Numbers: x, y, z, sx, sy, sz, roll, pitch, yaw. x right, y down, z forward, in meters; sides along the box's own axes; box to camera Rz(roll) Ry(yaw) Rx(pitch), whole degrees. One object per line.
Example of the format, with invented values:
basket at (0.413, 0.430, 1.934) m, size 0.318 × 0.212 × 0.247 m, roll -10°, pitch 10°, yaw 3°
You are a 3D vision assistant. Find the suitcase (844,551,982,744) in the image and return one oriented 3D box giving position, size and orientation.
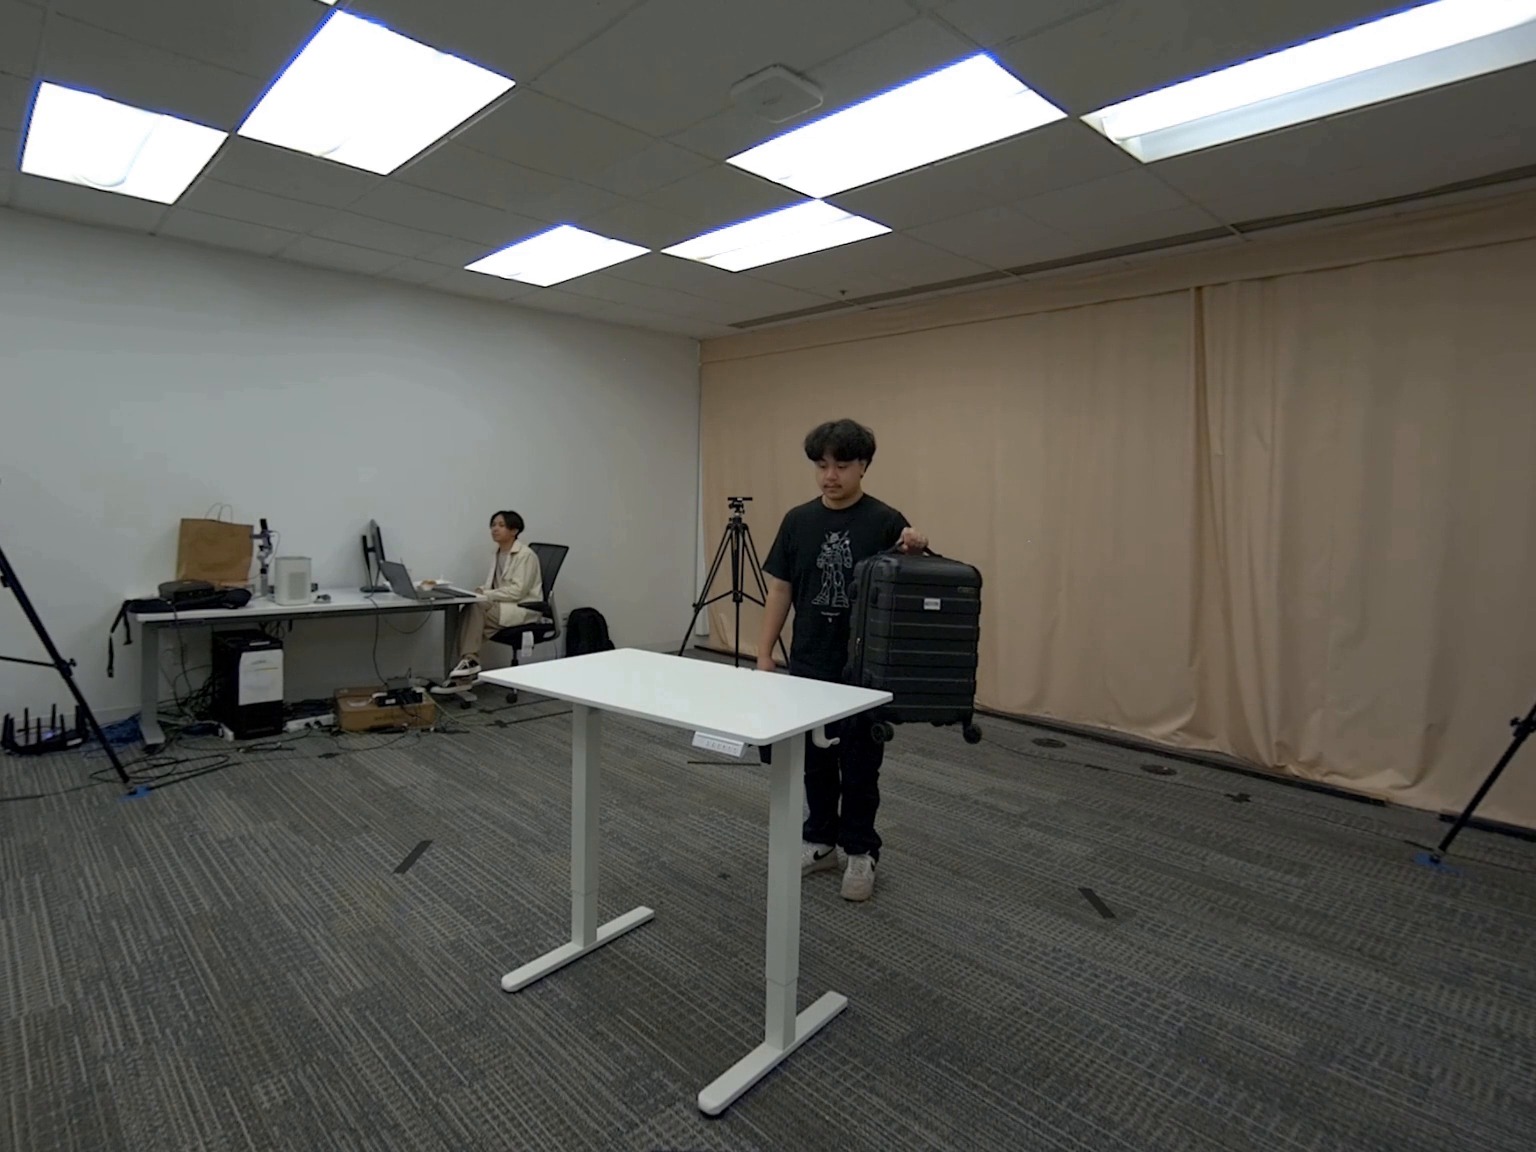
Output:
suitcase at (0.441, 0.196, 2.591) m, size 0.370 × 0.549 × 0.252 m, roll 4°, pitch 1°, yaw -16°
